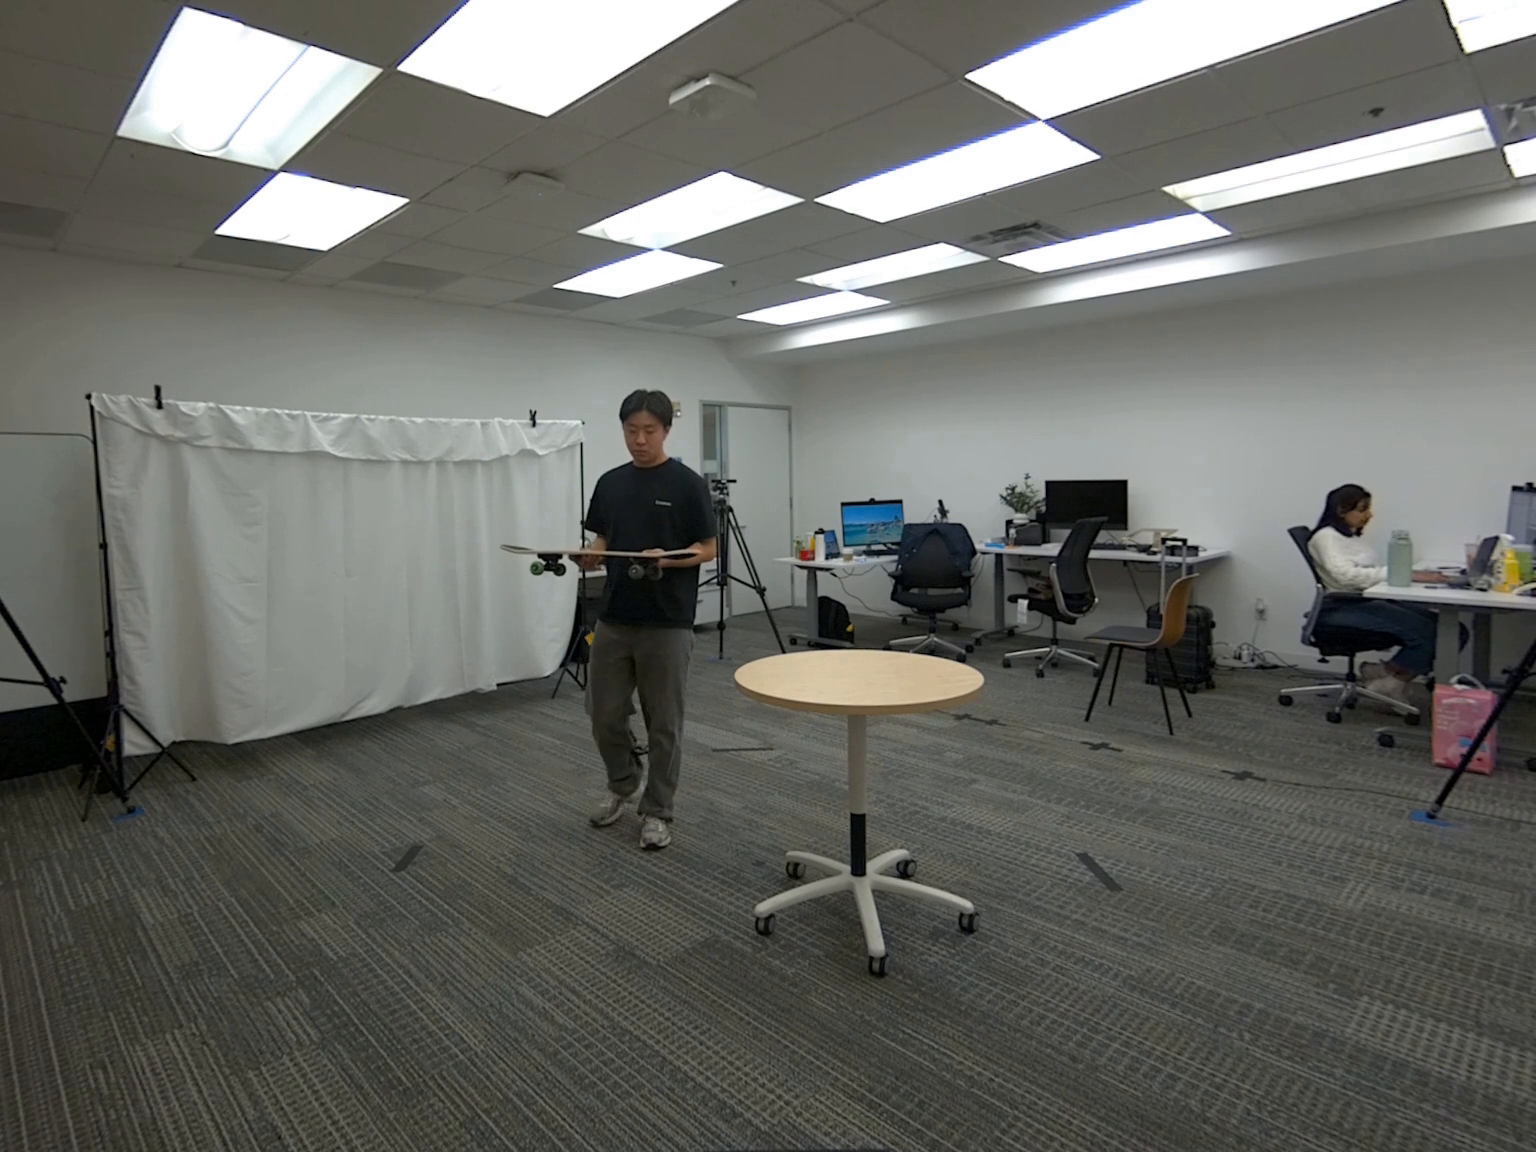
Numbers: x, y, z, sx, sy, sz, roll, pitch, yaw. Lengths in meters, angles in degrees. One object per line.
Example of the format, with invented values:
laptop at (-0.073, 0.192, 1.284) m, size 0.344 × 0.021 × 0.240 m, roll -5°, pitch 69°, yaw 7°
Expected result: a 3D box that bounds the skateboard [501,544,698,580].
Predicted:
skateboard at (-0.627, -0.043, 3.077) m, size 0.801 × 0.110 × 0.189 m, roll 2°, pitch -1°, yaw 21°
